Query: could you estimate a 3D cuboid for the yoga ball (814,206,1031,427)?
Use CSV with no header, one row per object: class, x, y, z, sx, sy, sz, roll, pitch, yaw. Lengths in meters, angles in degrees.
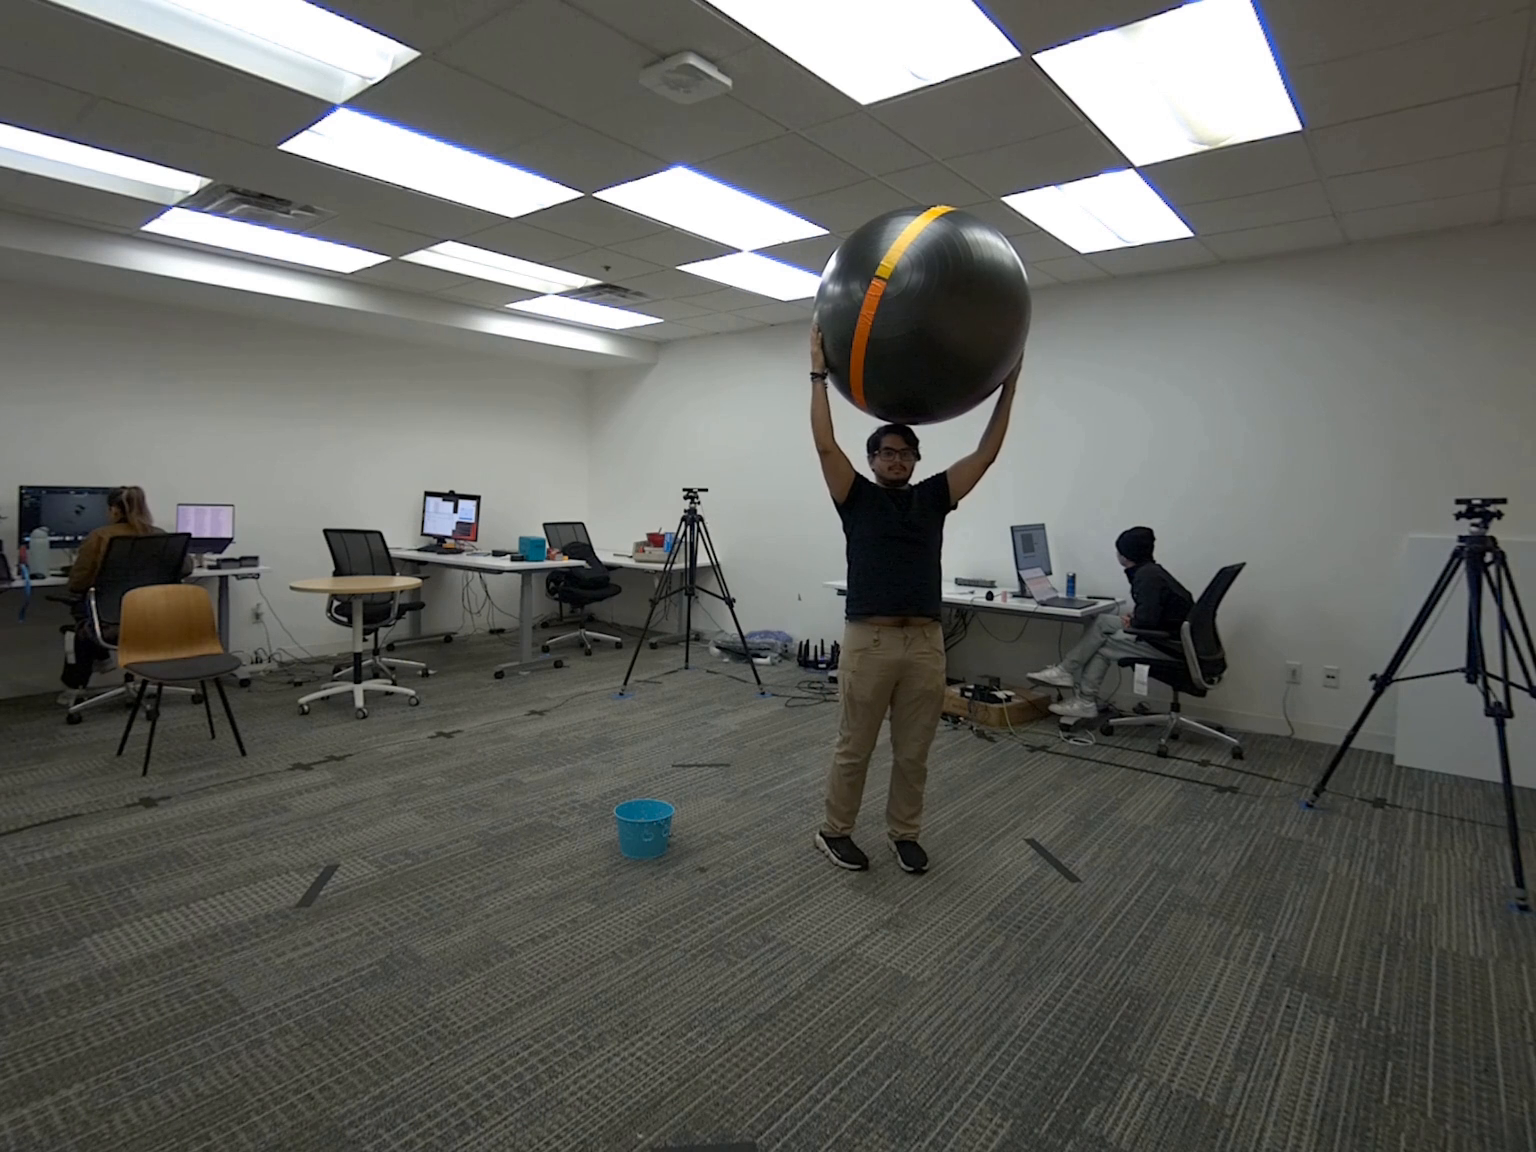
yoga ball,0.525,-0.916,3.030,0.757,0.756,0.761,1,4,-2
